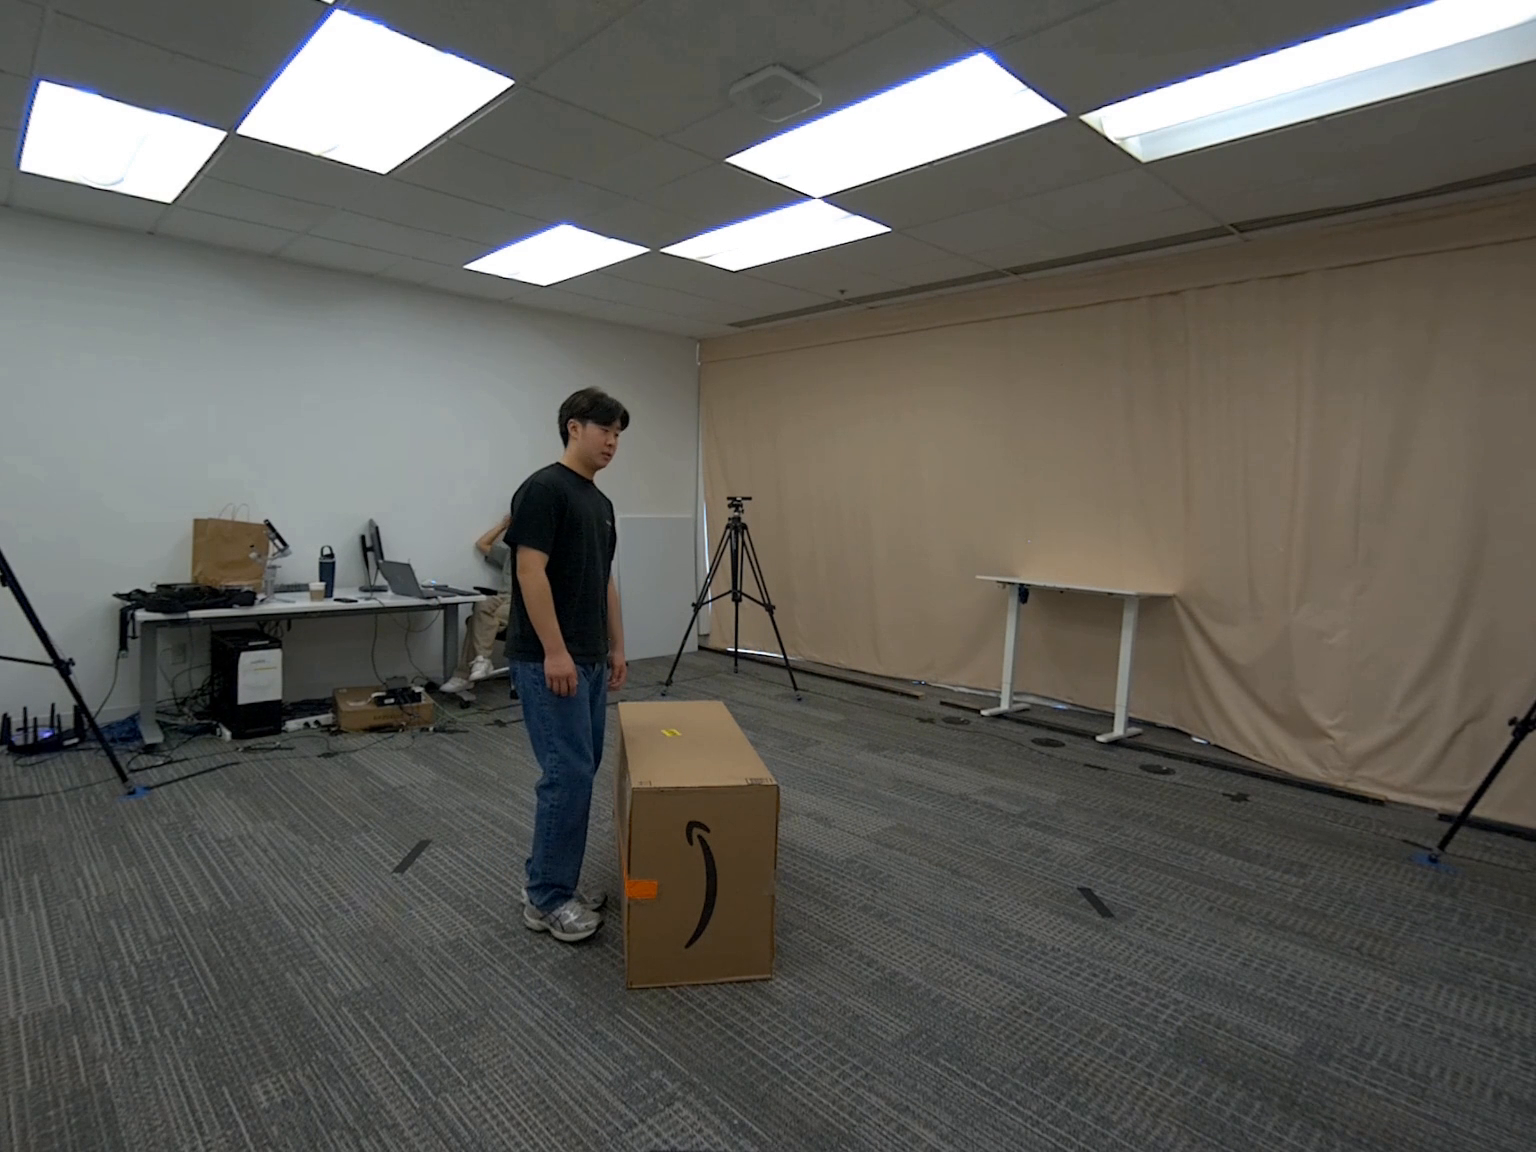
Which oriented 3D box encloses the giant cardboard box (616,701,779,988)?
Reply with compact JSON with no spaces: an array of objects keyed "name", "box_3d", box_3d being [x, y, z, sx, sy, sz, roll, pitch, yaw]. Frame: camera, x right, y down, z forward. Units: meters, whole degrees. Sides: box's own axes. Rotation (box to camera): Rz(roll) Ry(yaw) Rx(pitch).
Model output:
[{"name":"giant cardboard box","box_3d":[-0.295,0.836,2.892,0.443,0.582,1.039,0,4,-12]}]
